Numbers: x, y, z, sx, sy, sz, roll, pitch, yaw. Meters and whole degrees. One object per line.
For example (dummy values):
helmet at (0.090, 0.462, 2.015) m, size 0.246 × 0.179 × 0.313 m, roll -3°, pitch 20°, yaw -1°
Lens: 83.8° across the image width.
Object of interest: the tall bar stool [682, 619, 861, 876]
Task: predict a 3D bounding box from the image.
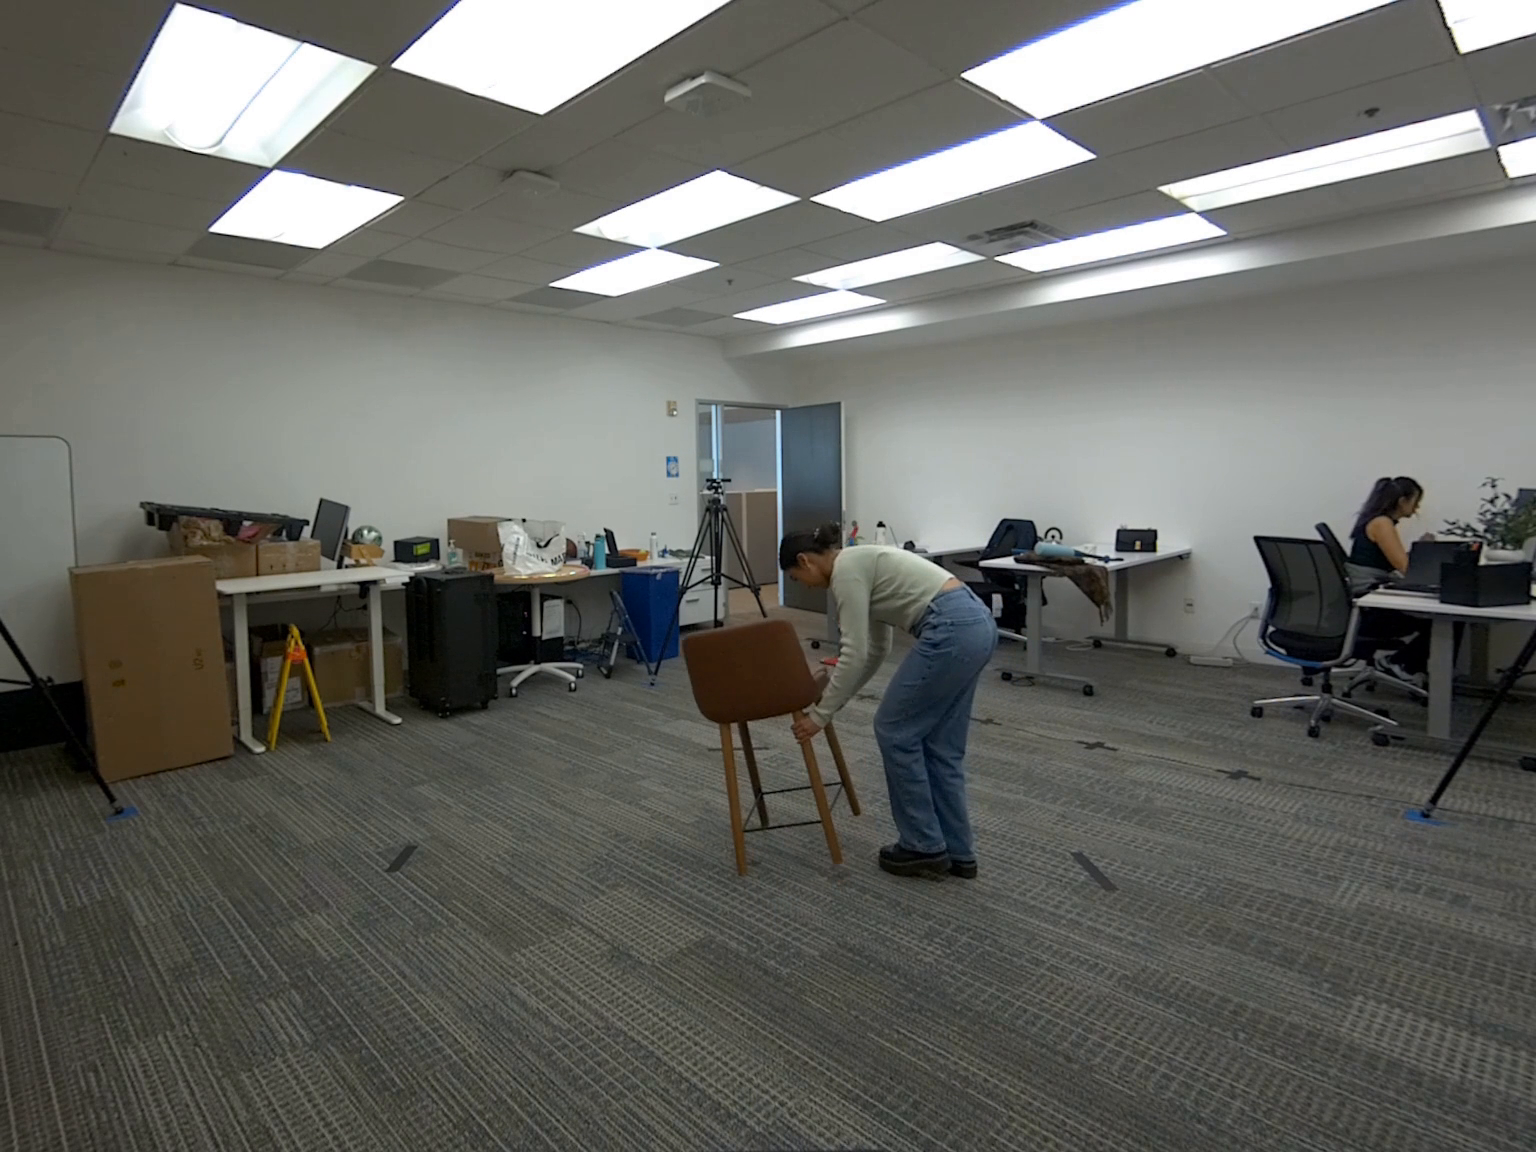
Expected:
tall bar stool at (0.025, 0.578, 3.168) m, size 0.462 × 0.888 × 0.463 m, roll -13°, pitch 2°, yaw 17°
